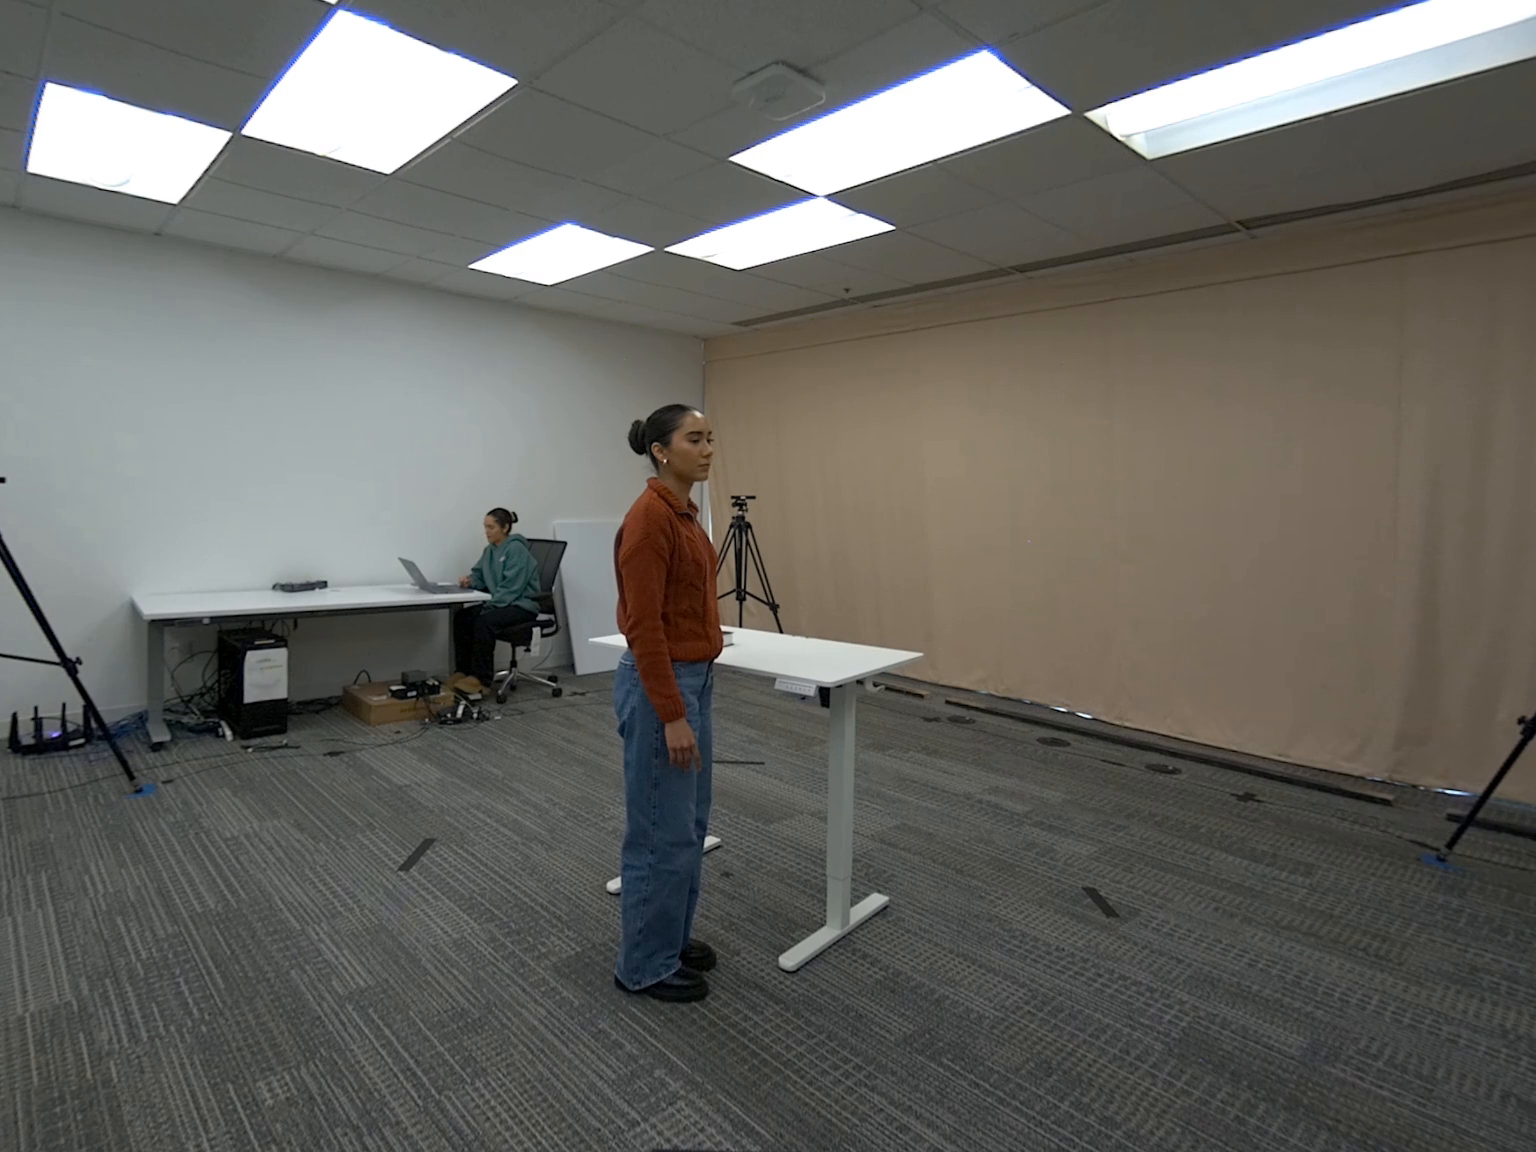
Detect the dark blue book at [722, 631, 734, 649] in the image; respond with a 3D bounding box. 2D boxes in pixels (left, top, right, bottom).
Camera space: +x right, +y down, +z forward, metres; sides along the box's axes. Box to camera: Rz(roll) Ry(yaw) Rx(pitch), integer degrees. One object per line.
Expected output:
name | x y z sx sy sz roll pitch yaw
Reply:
dark blue book | -0.246 0.222 2.858 0.167 0.045 0.240 5 6 32
